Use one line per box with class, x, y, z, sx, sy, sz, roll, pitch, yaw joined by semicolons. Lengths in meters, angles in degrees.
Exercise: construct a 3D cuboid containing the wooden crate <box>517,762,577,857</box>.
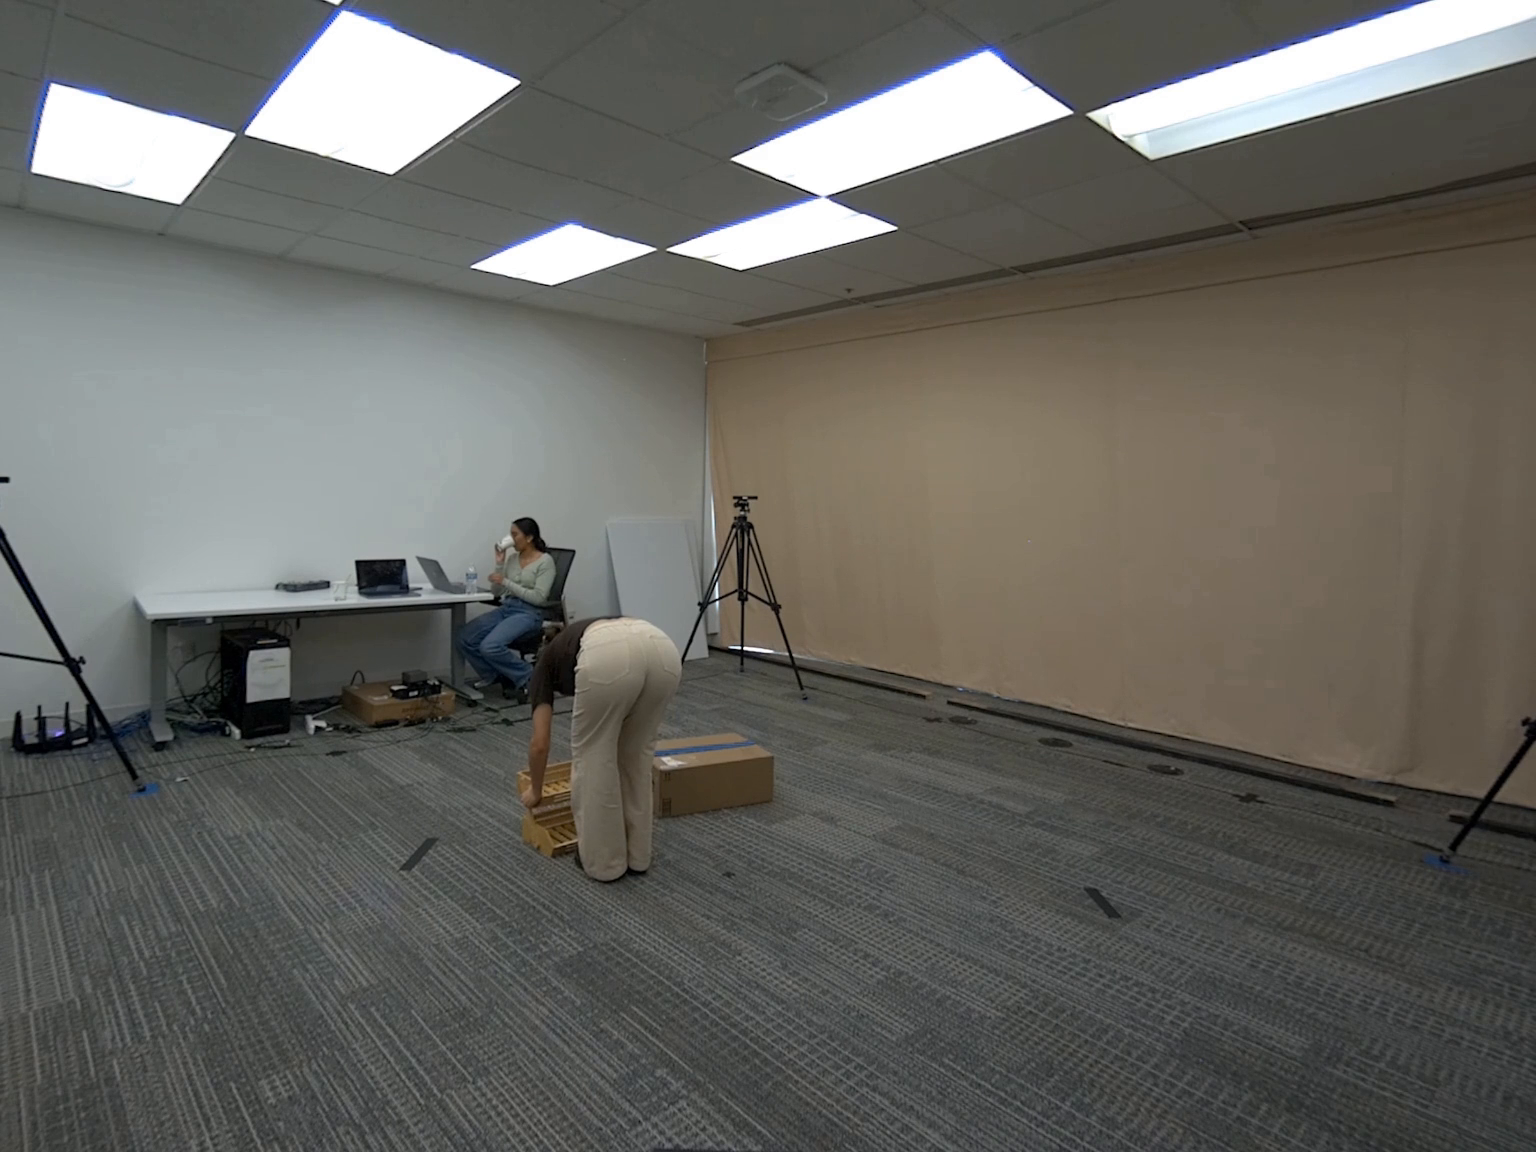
wooden crate;-0.812;0.922;3.395;0.317;0.272;0.310;-3;6;-42
